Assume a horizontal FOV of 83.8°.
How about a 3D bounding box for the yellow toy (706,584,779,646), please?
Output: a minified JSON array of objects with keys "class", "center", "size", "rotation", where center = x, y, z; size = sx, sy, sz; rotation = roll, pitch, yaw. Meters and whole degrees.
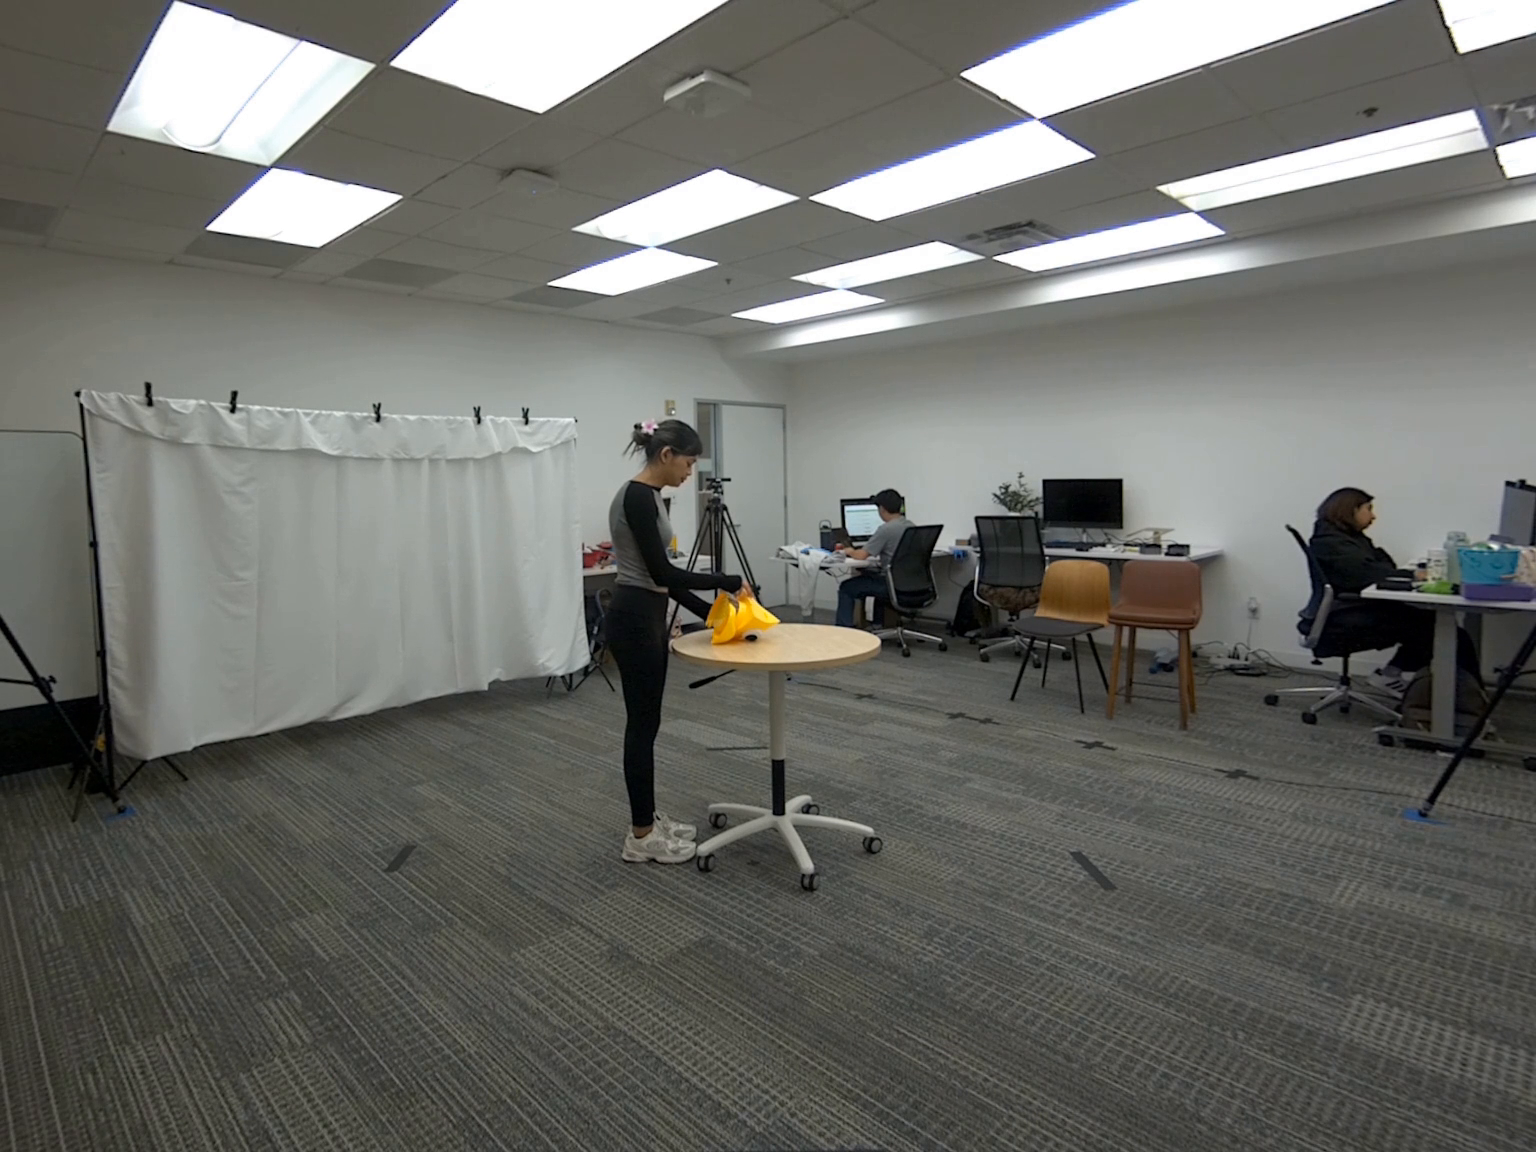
[{"class":"yellow toy","center":[-0.086,0.183,3.195],"size":[0.225,0.192,0.211],"rotation":[21,24,-20]}]
